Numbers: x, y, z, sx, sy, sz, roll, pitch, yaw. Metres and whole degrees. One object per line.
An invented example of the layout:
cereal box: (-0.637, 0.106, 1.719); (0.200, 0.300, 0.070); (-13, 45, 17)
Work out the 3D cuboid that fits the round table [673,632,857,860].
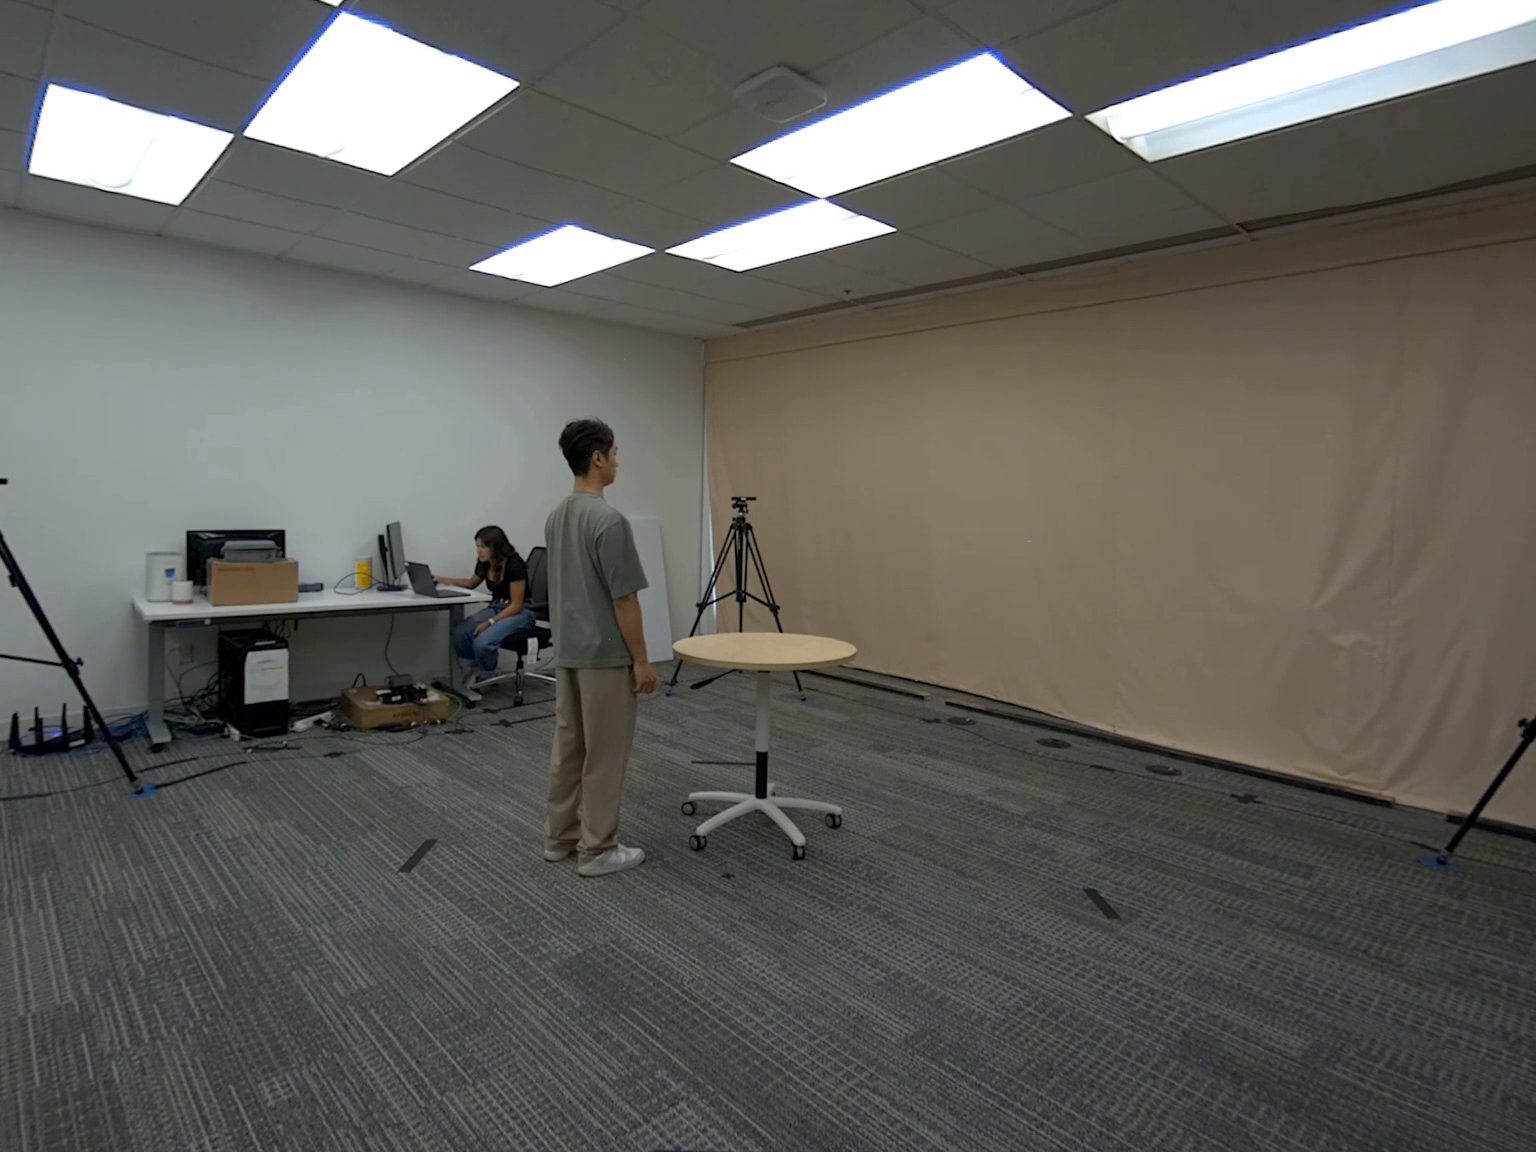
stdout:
round table: (-0.024, 0.682, 3.532); (0.784, 0.785, 0.787); (1, 4, -1)
